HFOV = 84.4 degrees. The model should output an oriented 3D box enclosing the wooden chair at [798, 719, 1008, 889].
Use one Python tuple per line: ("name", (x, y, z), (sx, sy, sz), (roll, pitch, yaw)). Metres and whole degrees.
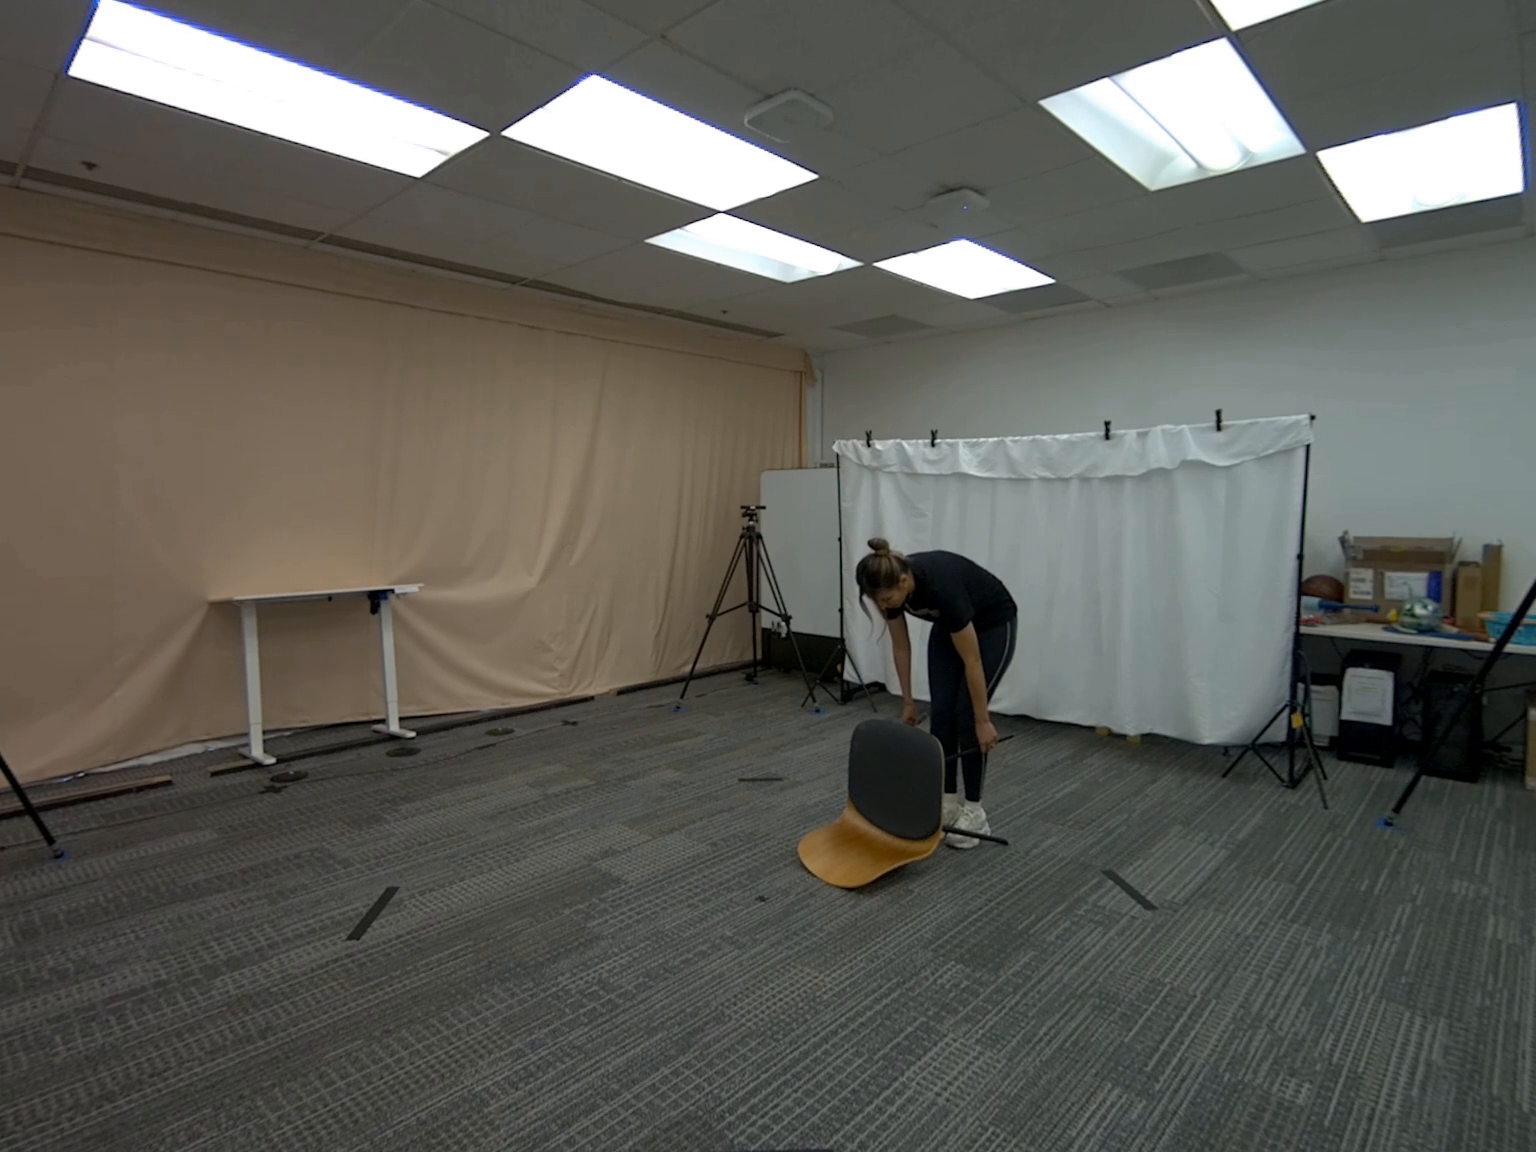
("wooden chair", (0.526, 0.848, 3.371), (0.851, 0.522, 0.494), (-5, 5, -40))
